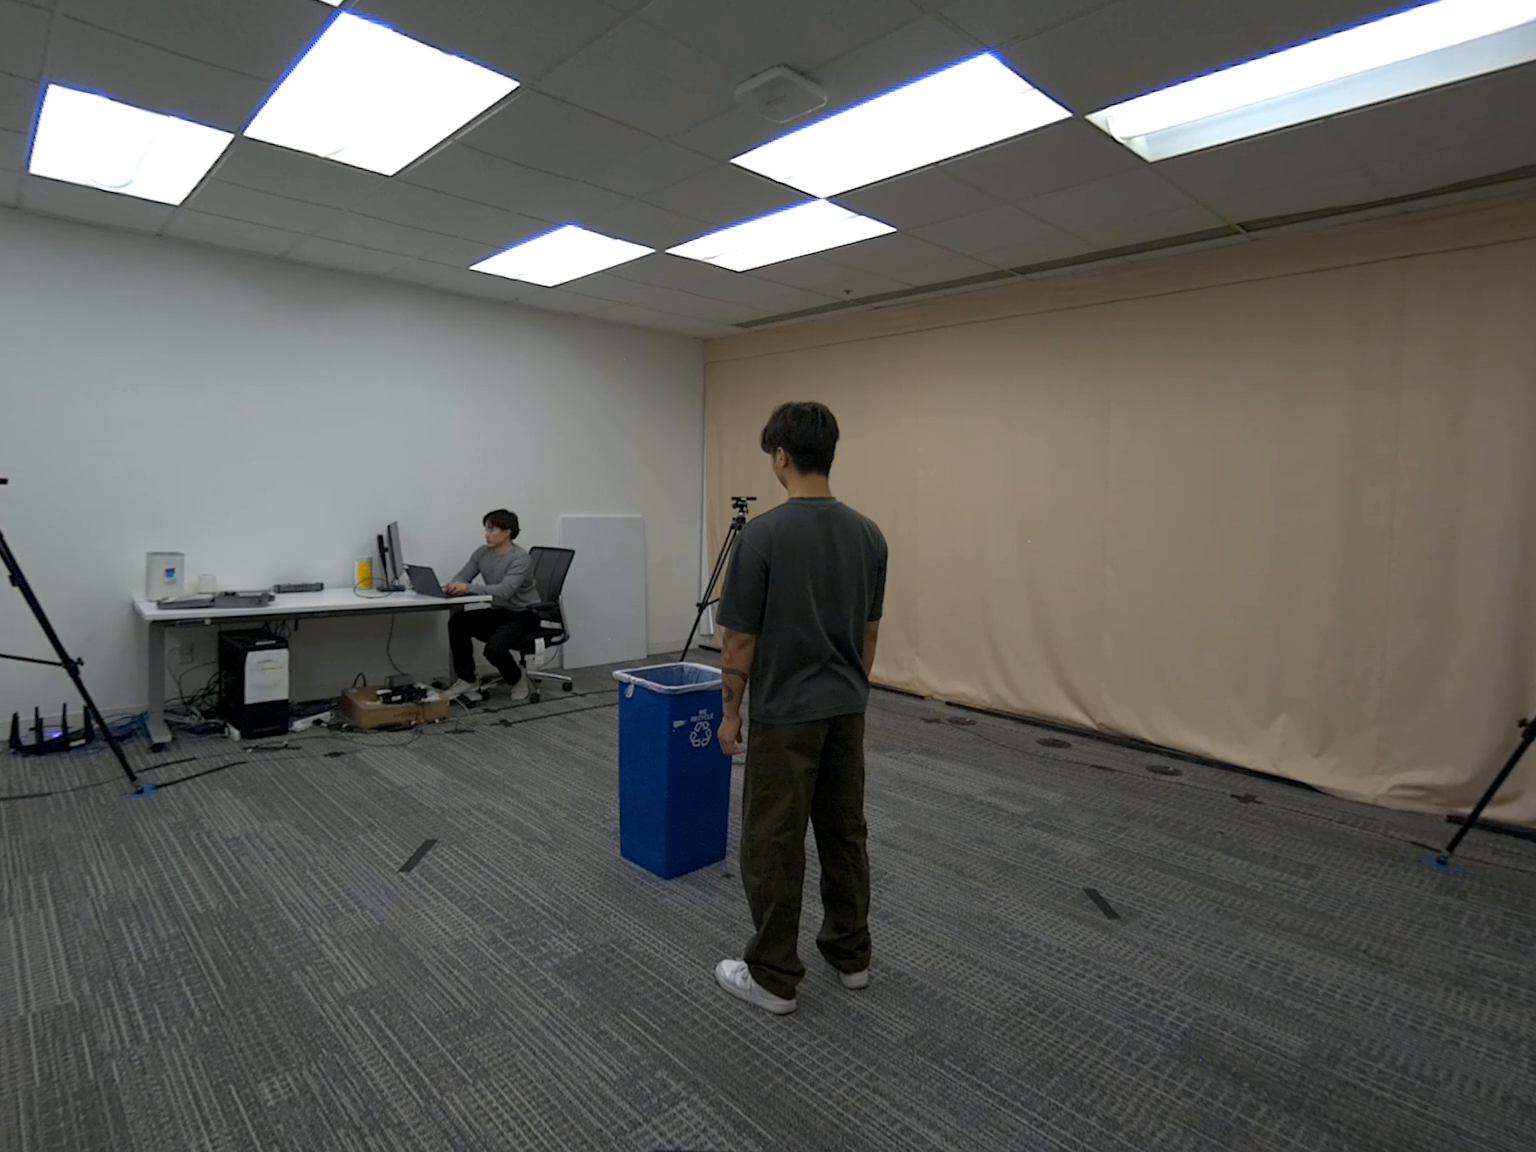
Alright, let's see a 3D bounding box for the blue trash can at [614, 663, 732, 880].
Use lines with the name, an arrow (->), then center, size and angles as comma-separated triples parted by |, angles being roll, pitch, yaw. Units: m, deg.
blue trash can -> -0.363, 0.731, 3.250 | 0.365, 0.711, 0.388 | -3, 5, -45
